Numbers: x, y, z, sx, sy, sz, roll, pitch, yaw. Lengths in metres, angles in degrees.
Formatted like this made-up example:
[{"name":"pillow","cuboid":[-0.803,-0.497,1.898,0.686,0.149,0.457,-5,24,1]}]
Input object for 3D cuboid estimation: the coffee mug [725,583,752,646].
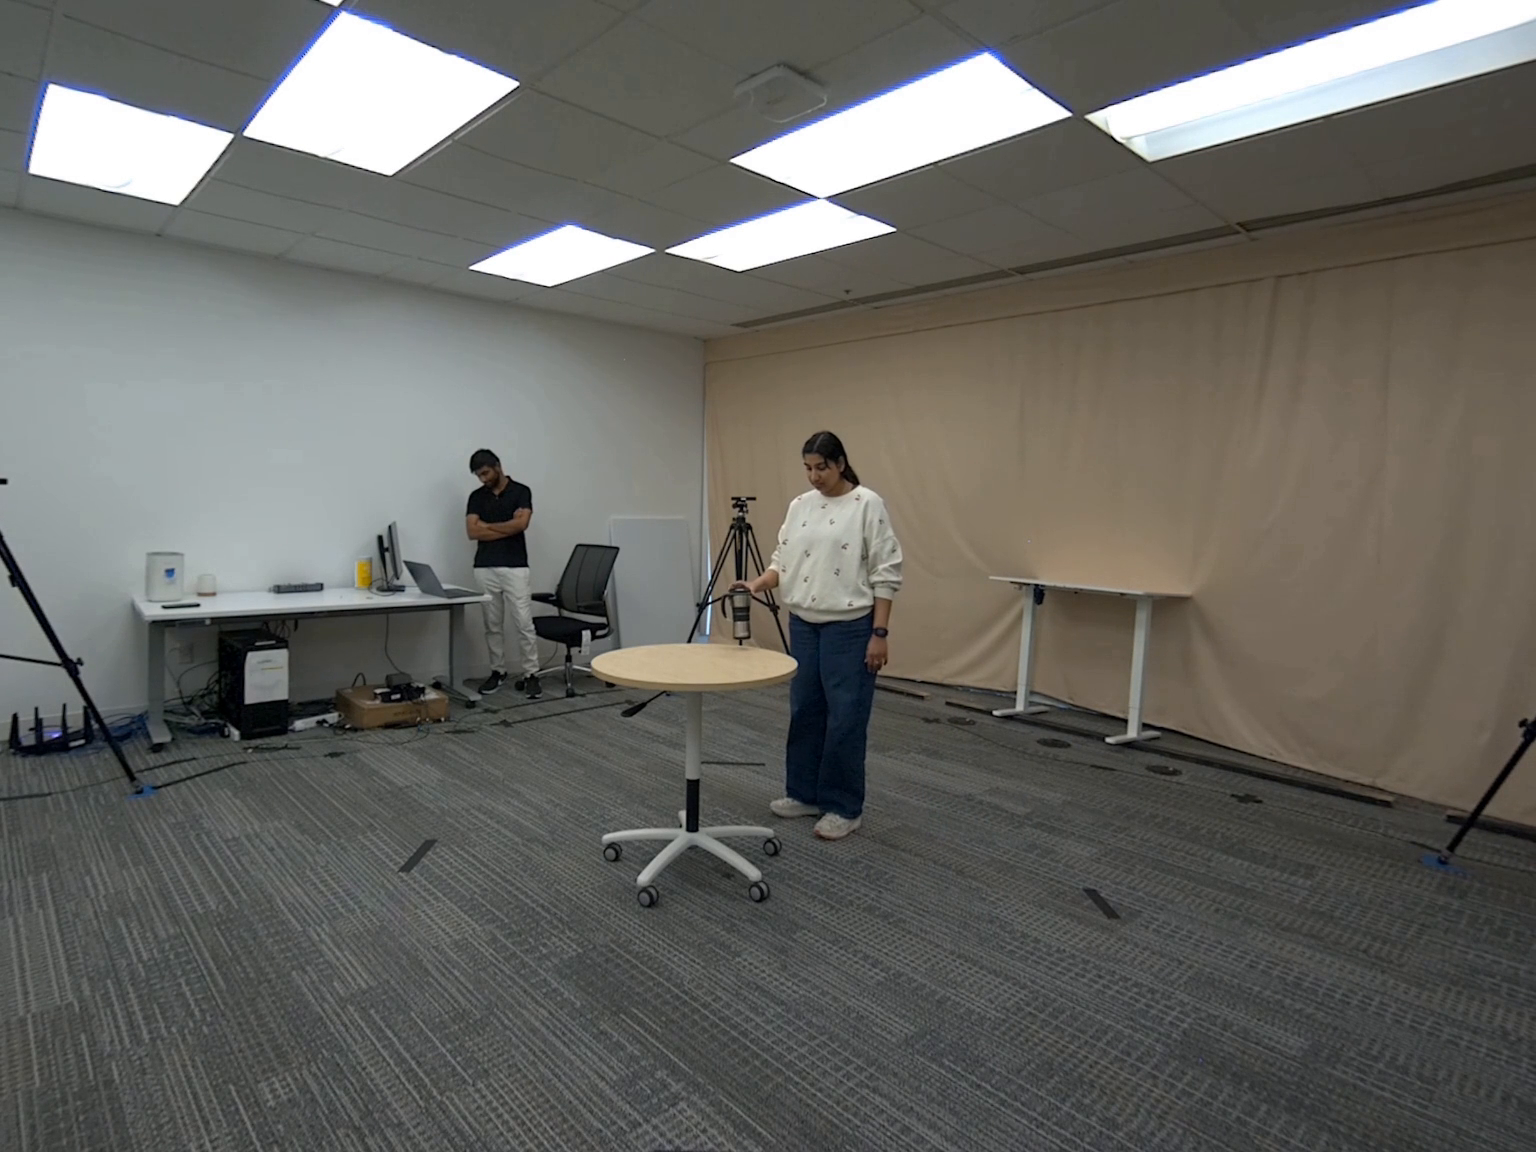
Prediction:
[{"name":"coffee mug","cuboid":[-0.135,0.156,3.410,0.123,0.203,0.087,1,2,12]}]
